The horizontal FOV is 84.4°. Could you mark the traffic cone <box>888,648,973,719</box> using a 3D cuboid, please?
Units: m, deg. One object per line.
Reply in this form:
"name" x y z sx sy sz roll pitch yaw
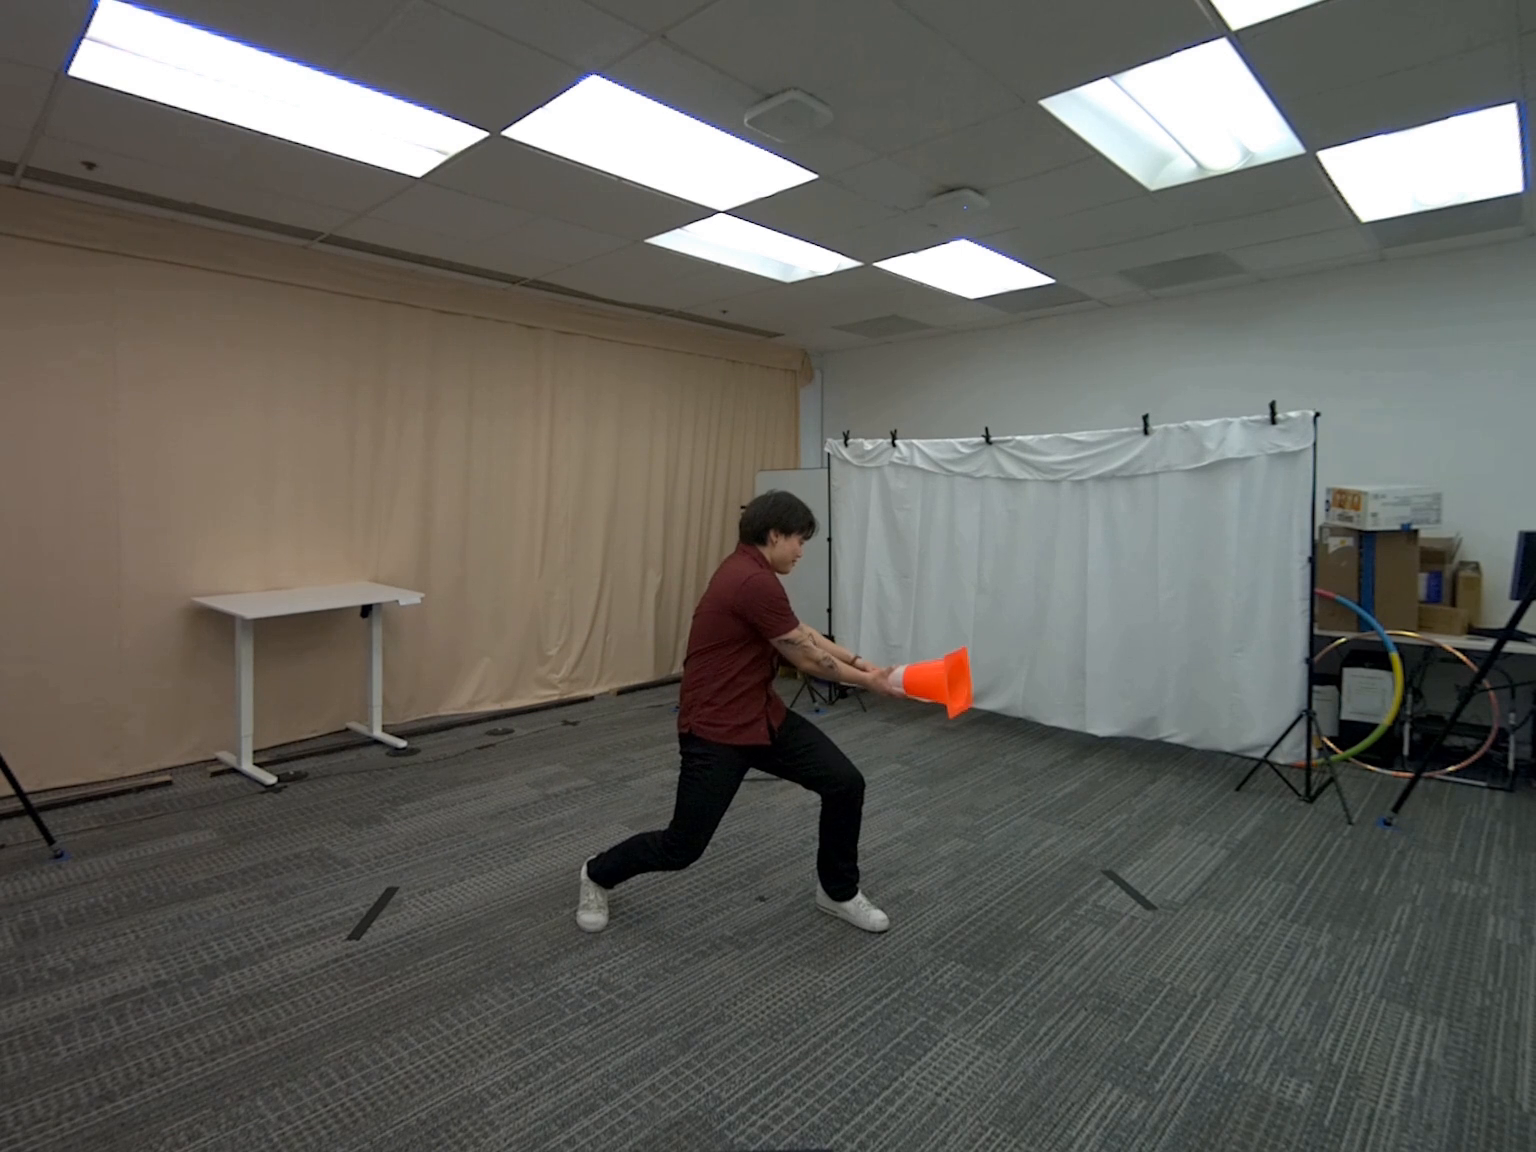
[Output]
"traffic cone" 0.451 0.342 2.786 0.395 0.205 0.197 -2 2 36
